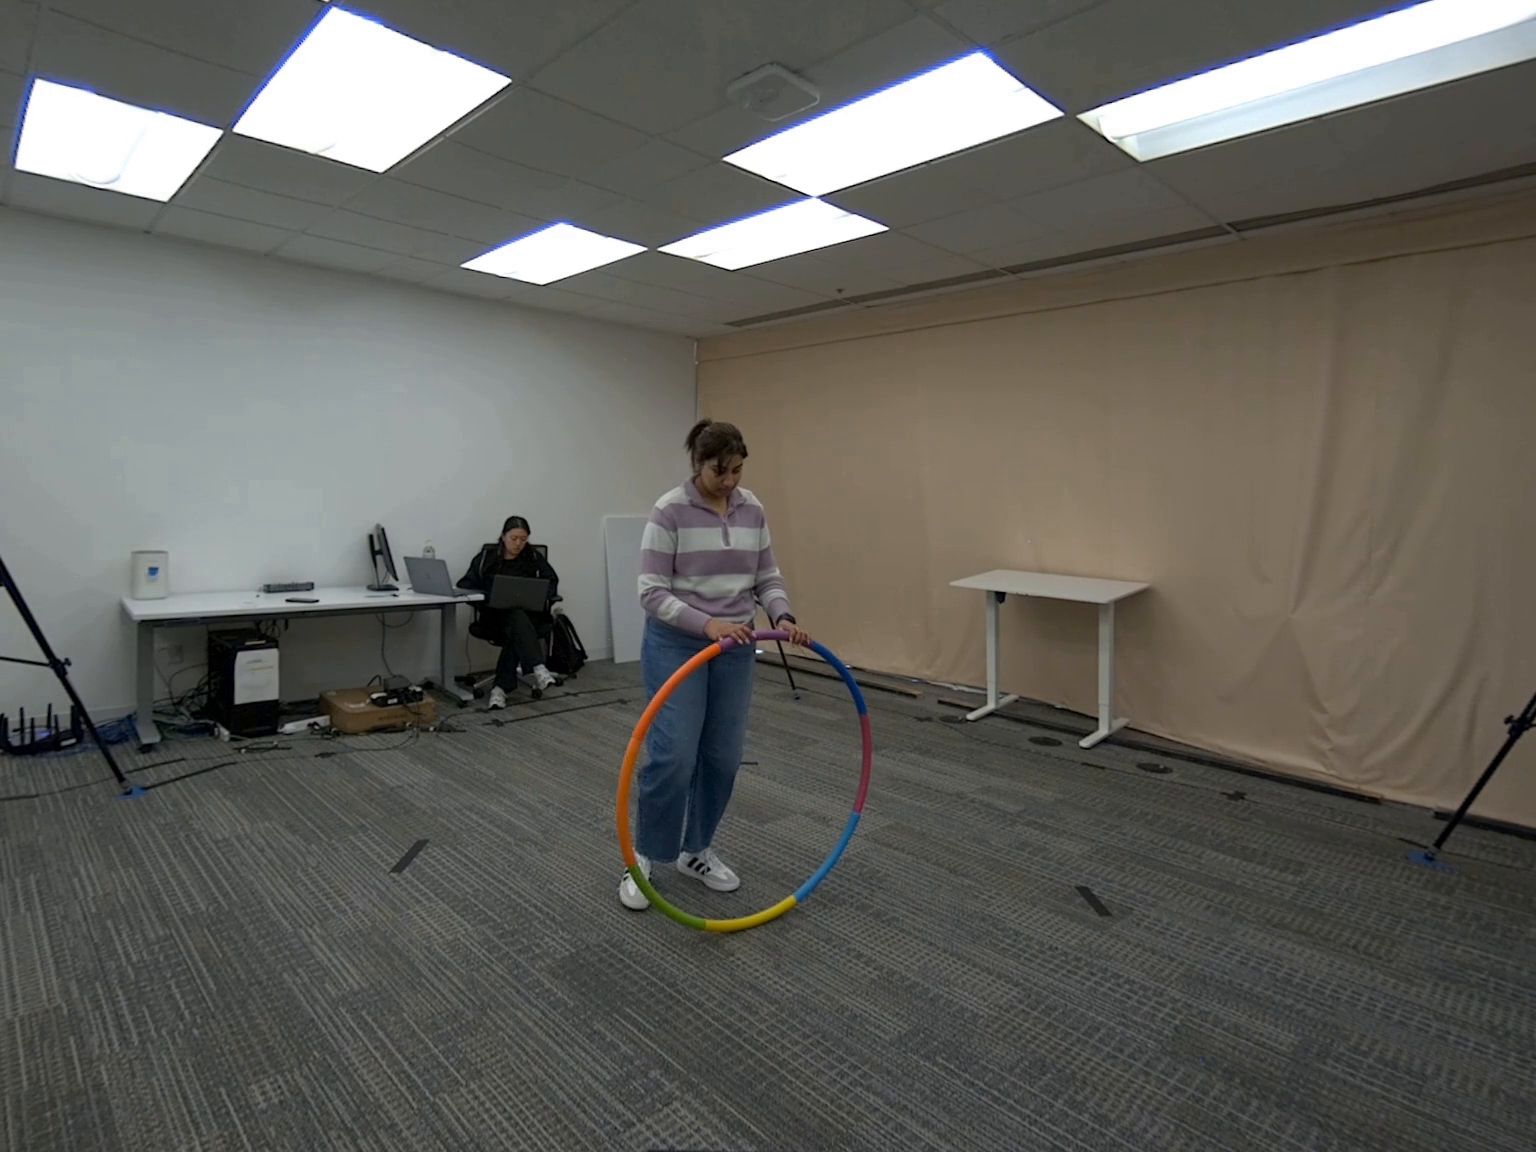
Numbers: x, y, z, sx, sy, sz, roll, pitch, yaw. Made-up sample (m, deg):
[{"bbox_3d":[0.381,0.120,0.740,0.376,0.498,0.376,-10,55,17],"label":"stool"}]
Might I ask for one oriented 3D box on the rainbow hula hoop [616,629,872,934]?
[{"bbox_3d":[-0.040,0.657,2.706,0.964,0.982,0.053,-2,5,-35],"label":"rainbow hula hoop"}]
